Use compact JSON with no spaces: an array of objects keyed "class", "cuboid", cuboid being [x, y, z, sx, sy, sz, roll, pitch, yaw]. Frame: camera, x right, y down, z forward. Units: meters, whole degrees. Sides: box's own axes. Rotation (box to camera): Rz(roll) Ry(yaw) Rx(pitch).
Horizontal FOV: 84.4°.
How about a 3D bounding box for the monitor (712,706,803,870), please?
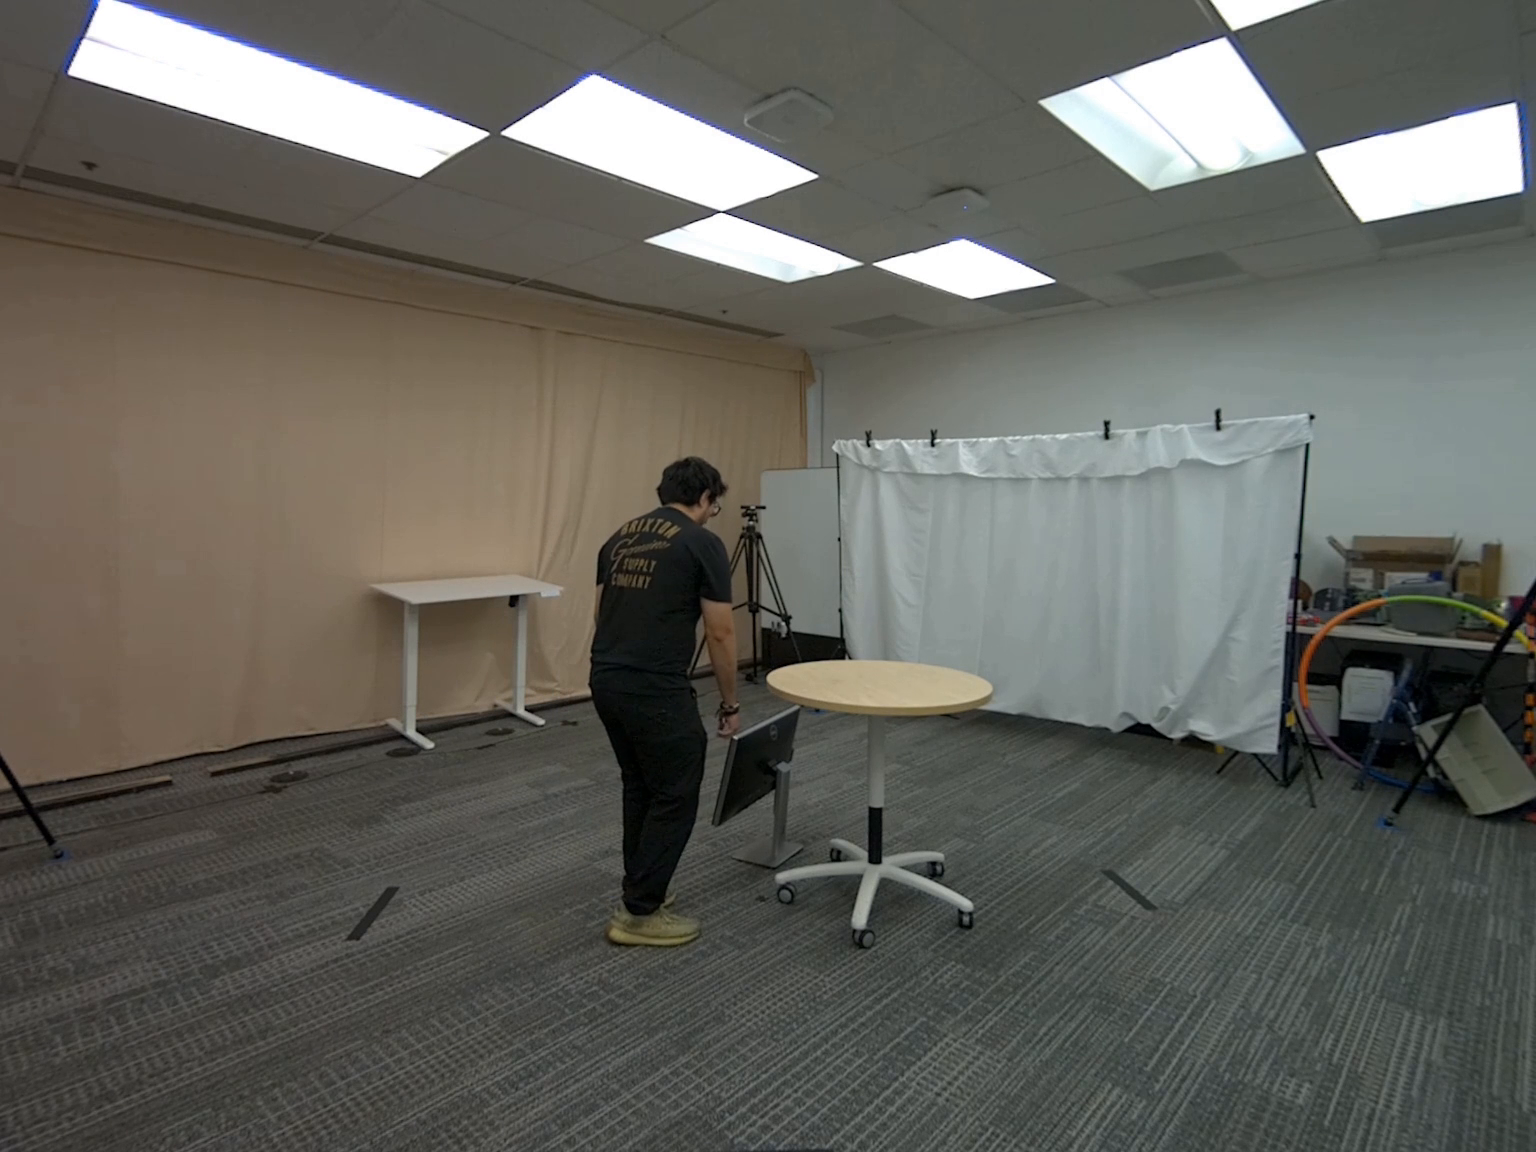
[{"class":"monitor","cuboid":[0.020,0.847,3.341,0.216,0.552,0.551,9,8,28]}]
